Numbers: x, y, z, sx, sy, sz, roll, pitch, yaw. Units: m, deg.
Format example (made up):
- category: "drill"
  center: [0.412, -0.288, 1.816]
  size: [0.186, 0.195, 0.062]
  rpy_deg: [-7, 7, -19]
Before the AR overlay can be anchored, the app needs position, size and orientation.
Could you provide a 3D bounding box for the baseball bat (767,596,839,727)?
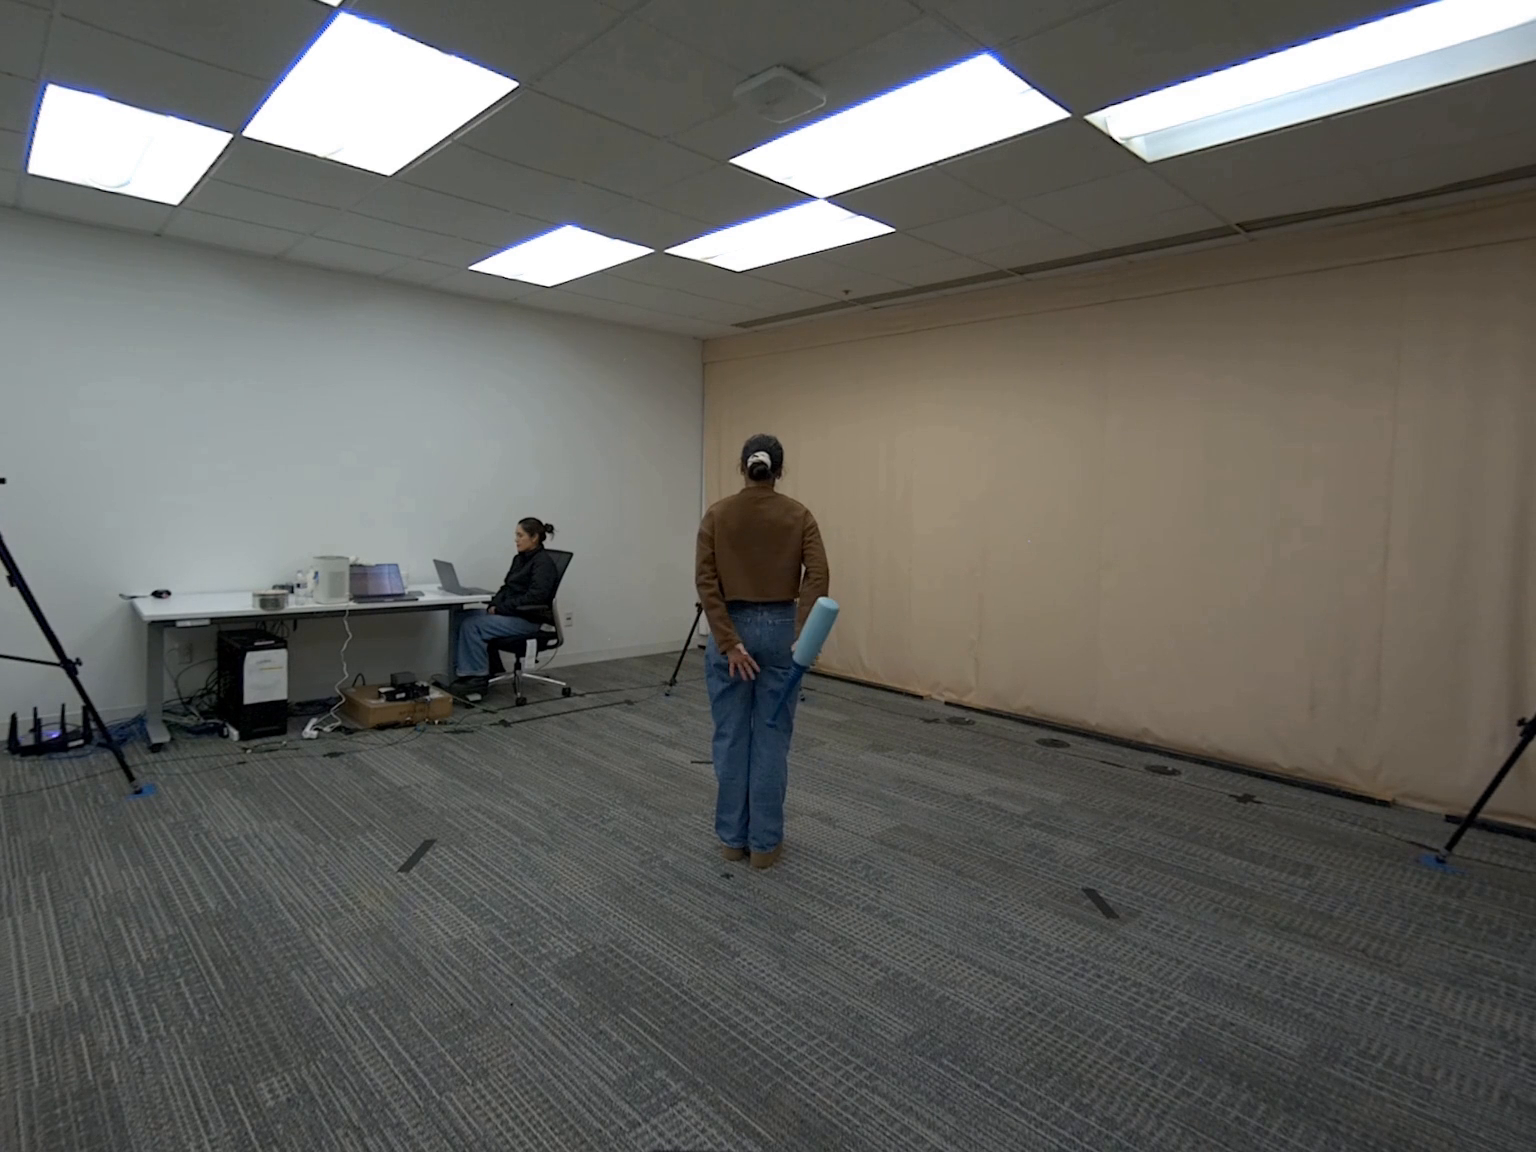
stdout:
- category: "baseball bat"
  center: [0.104, 0.321, 2.996]
  size: [0.088, 0.539, 0.090]
  rpy_deg: [19, 23, -10]
